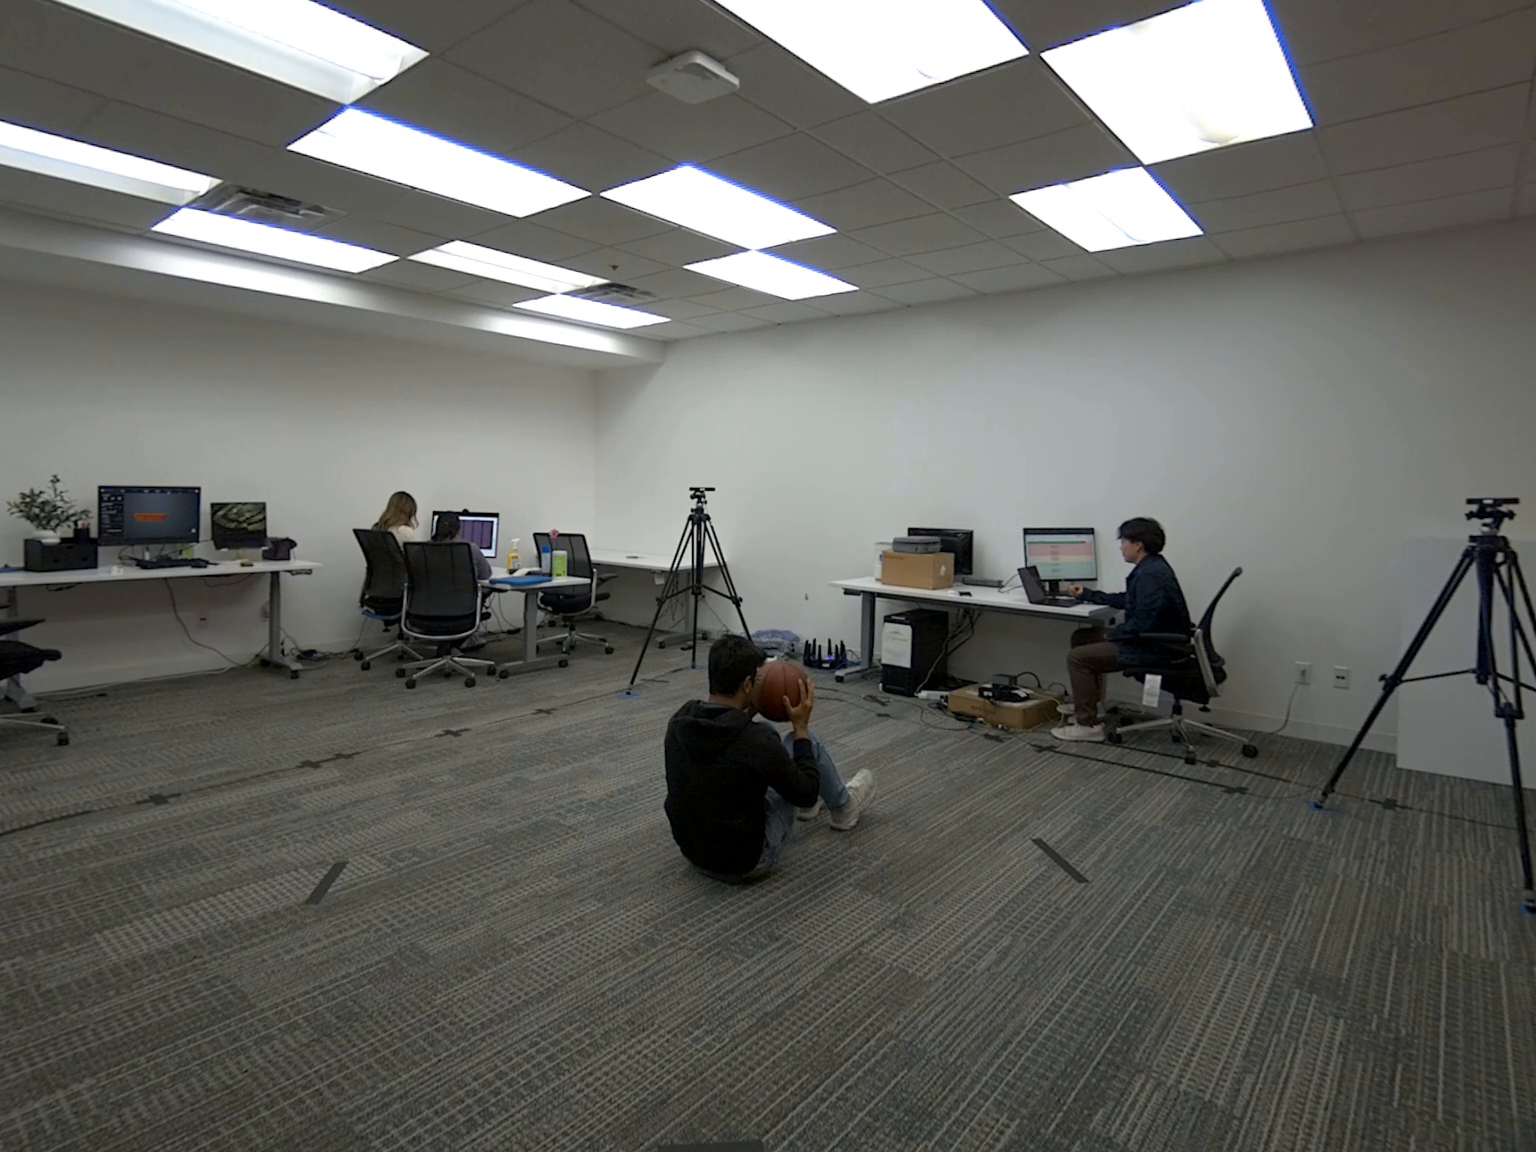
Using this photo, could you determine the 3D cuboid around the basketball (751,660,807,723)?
[{"bbox_3d":[0.035,0.440,3.304,0.235,0.235,0.237,1,4,-2],"label":"basketball"}]
